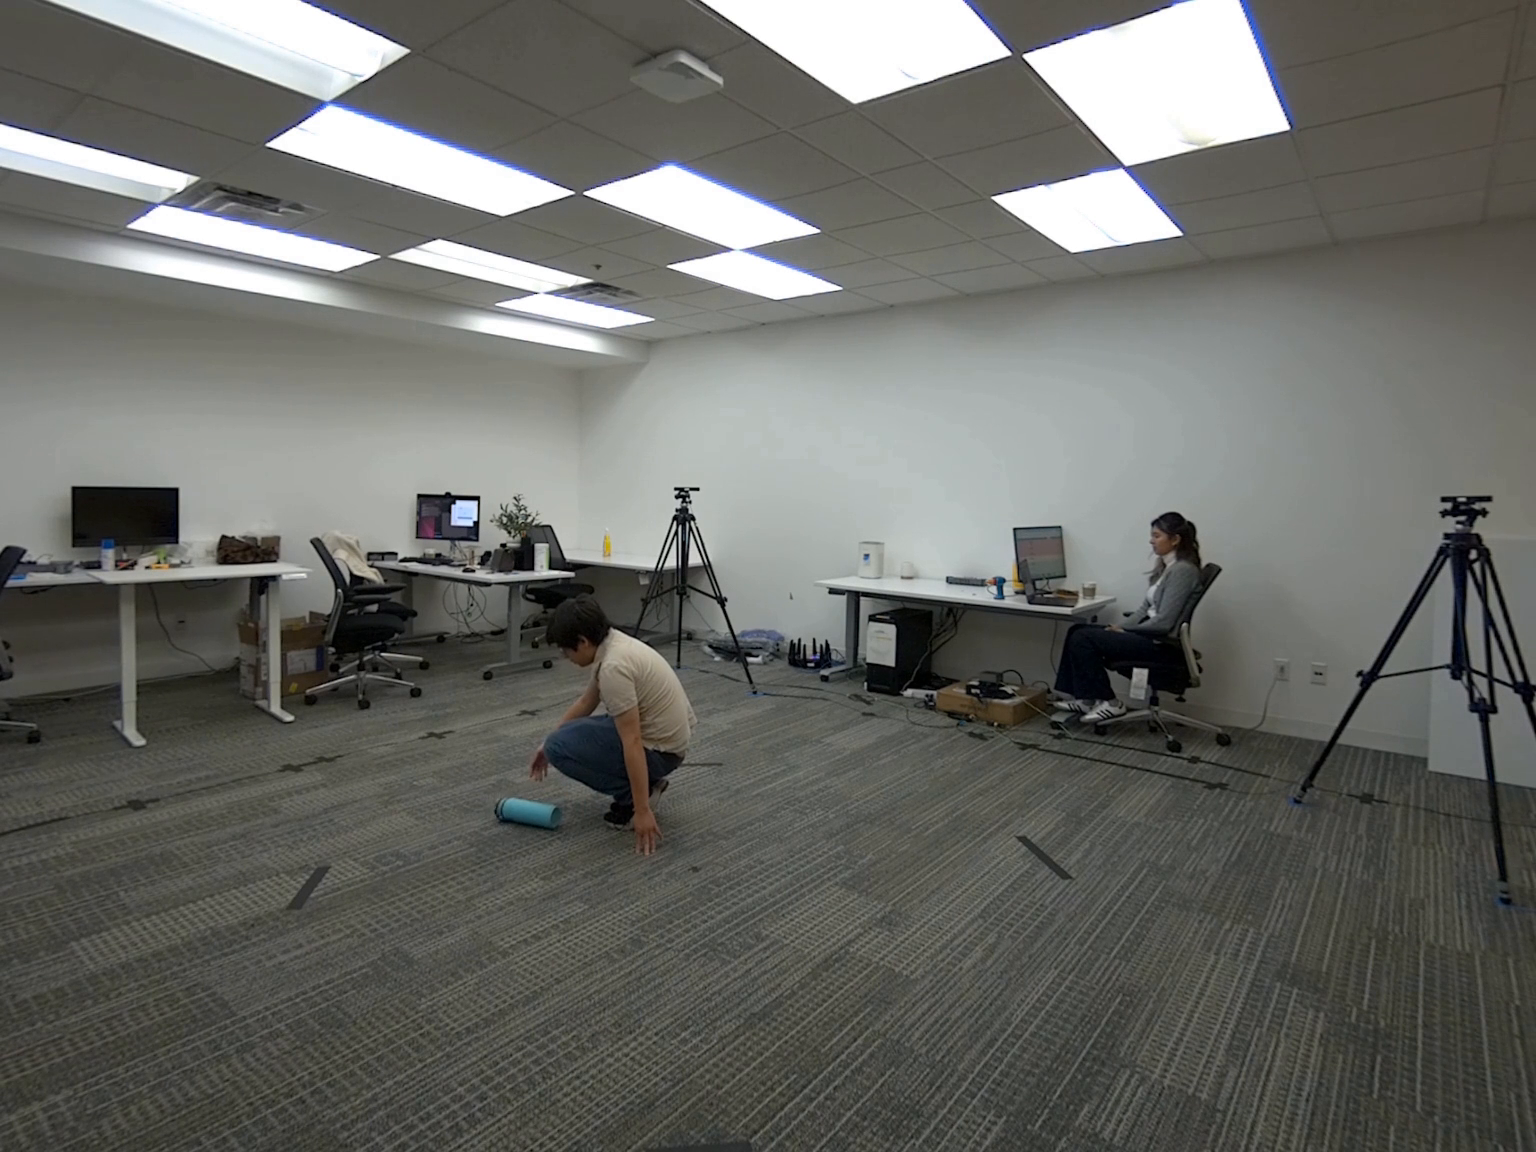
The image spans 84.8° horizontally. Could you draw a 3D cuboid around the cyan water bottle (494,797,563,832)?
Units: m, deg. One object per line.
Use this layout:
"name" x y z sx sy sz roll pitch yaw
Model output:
"cyan water bottle" -1.013 0.969 3.508 0.289 0.092 0.091 3 5 19
